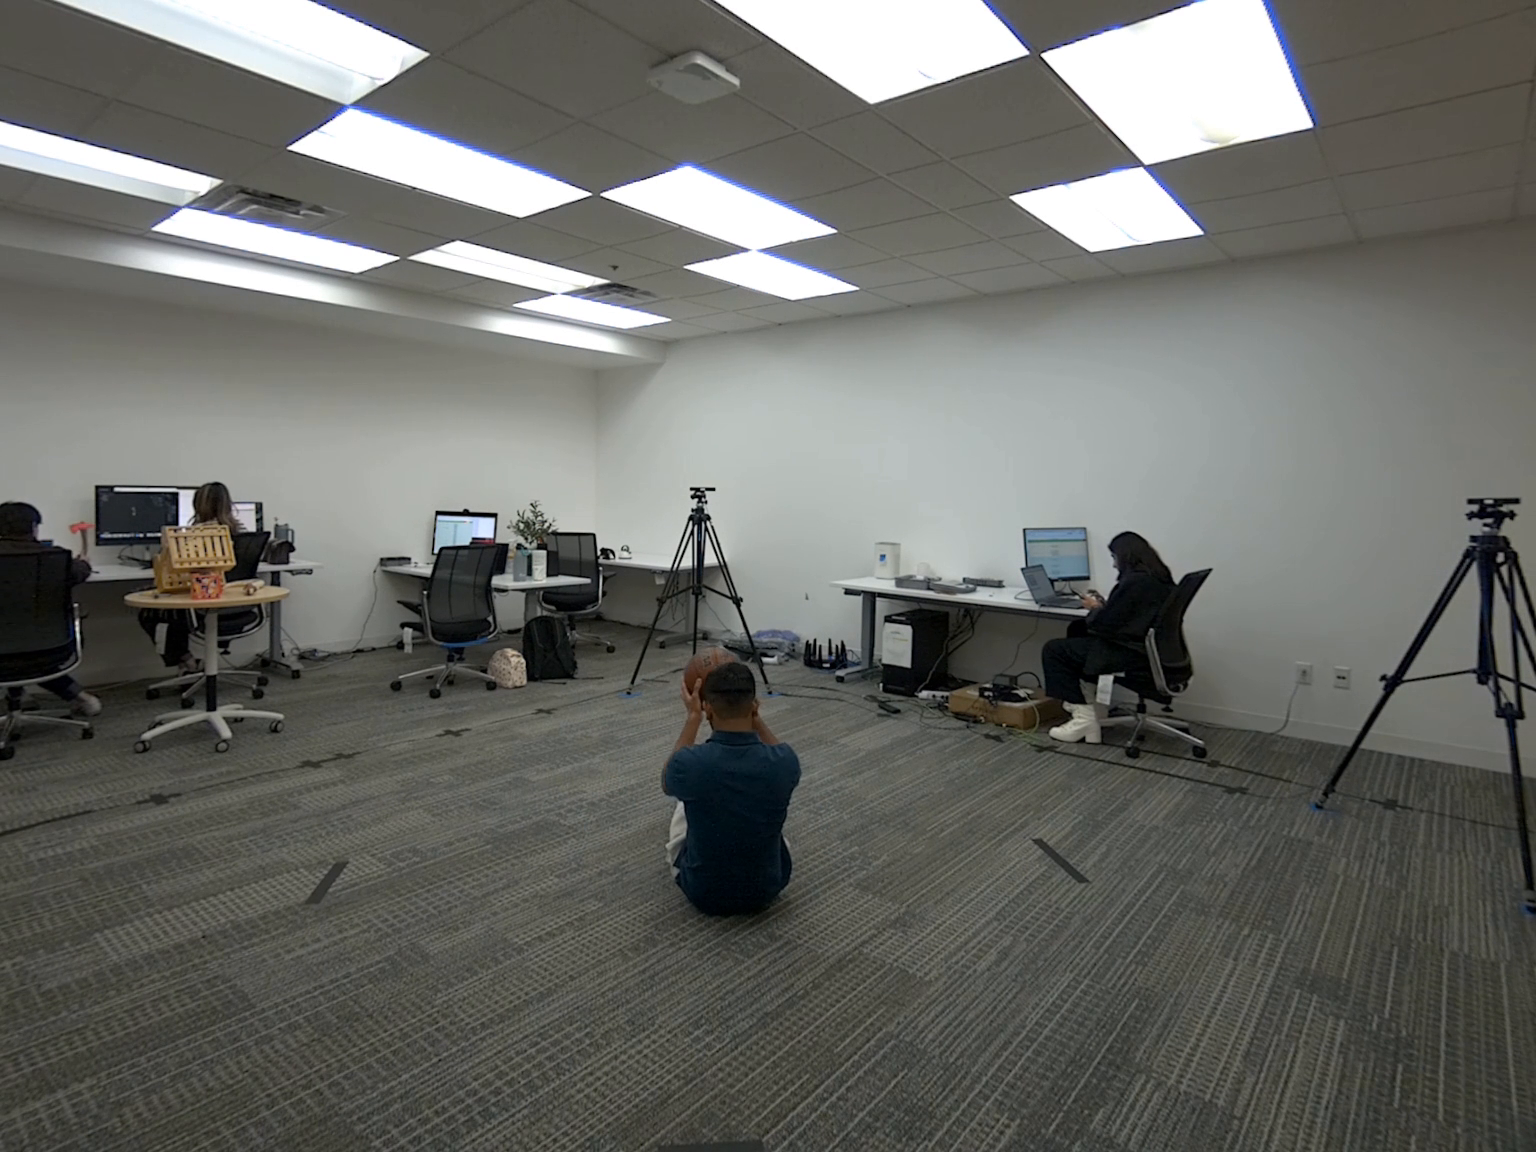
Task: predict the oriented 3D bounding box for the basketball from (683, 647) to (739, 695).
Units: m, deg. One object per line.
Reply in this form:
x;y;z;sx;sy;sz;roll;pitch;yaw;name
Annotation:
-0.203;0.397;3.245;0.235;0.235;0.237;1;4;-2;basketball
